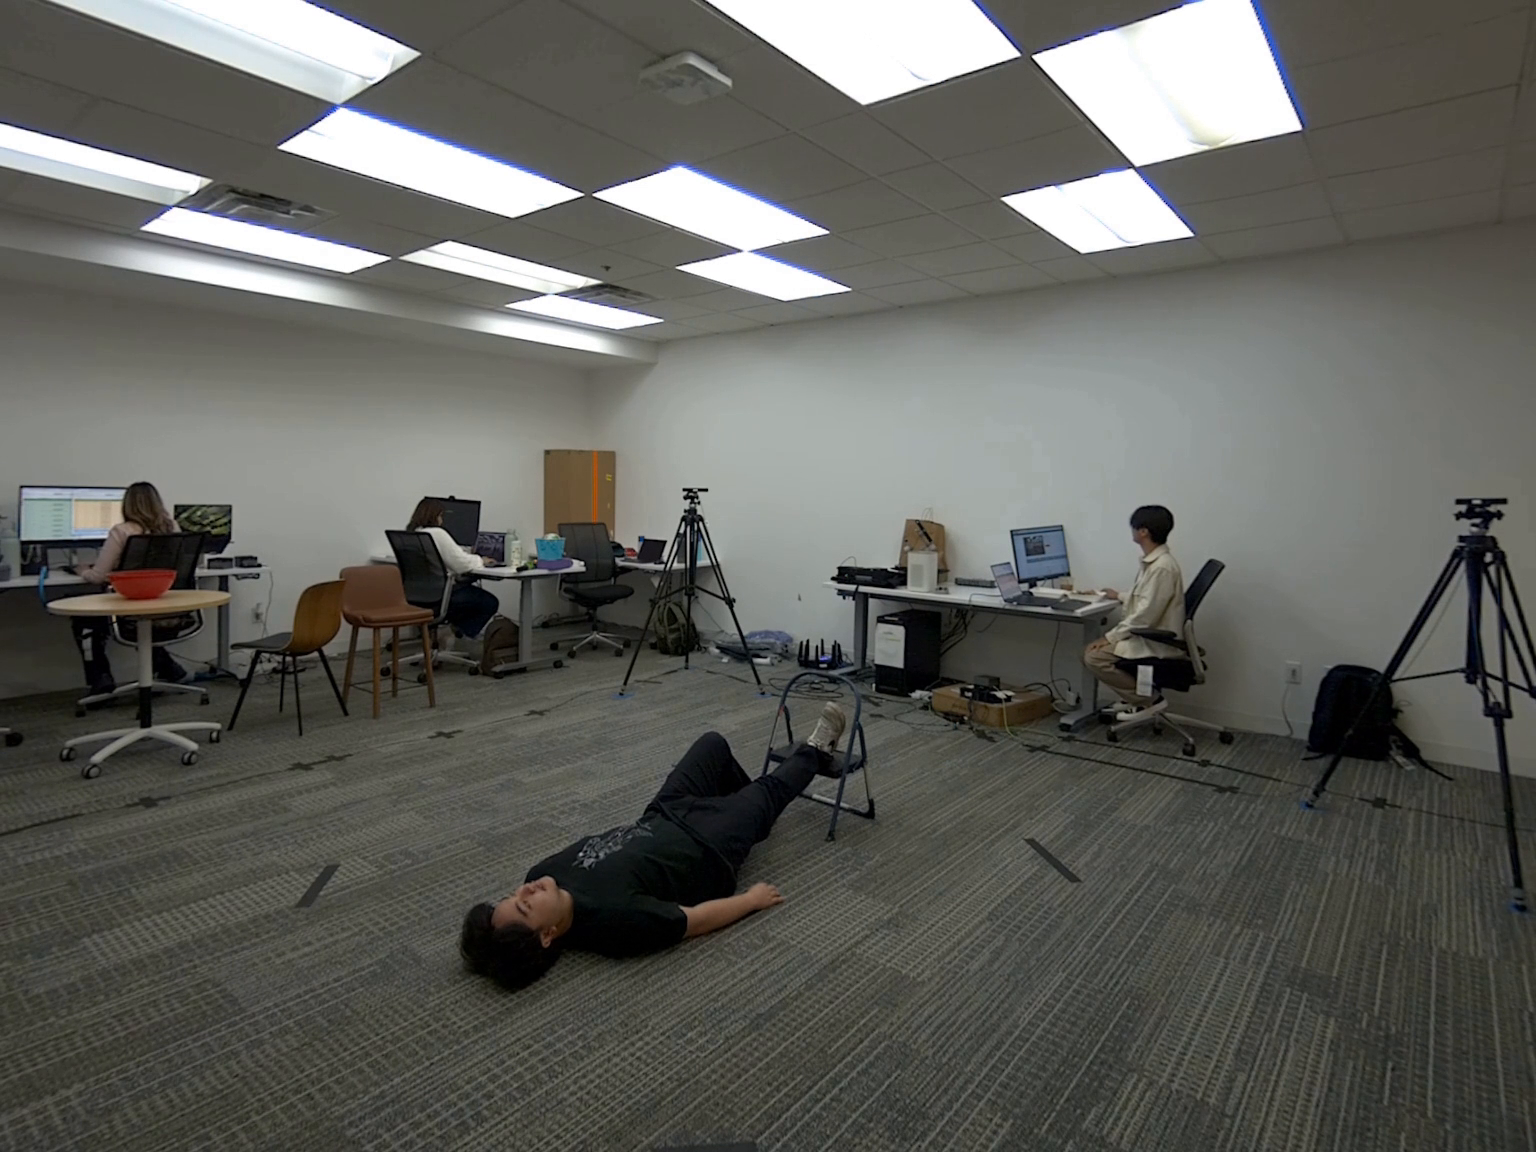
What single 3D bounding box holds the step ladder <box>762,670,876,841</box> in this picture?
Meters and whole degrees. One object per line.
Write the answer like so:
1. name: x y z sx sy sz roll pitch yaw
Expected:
1. step ladder: 0.196 0.728 3.640 0.445 0.604 0.339 5 5 40
